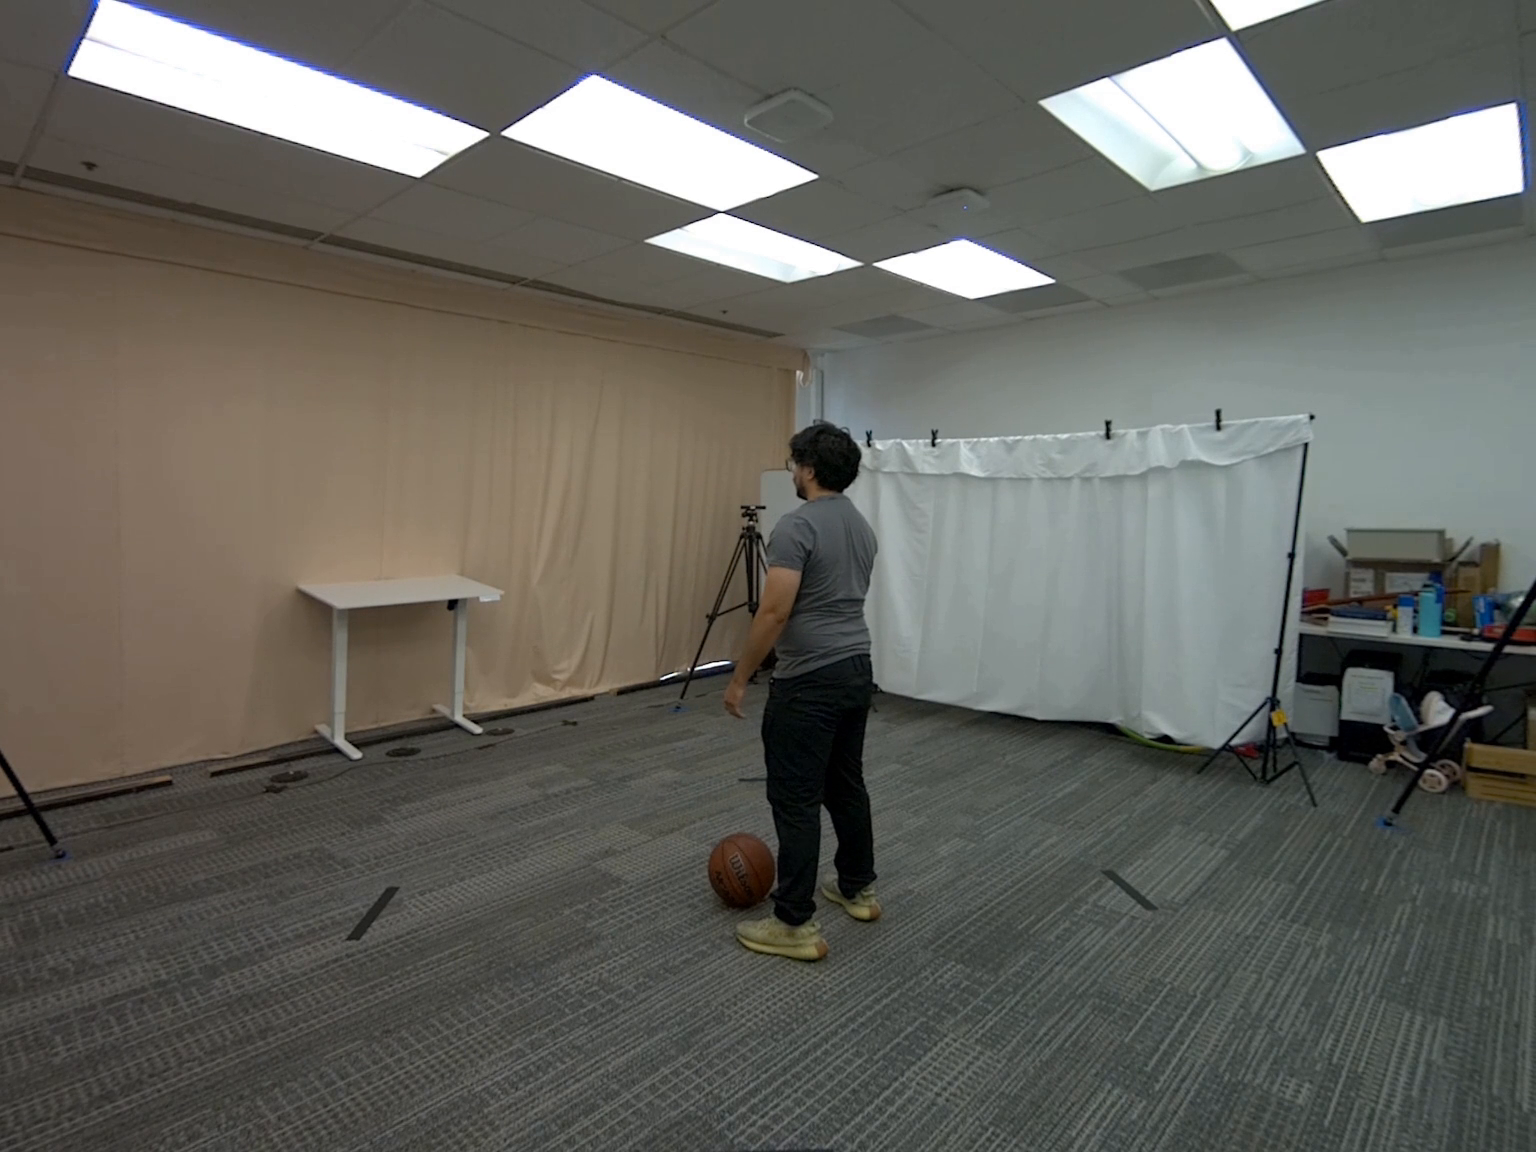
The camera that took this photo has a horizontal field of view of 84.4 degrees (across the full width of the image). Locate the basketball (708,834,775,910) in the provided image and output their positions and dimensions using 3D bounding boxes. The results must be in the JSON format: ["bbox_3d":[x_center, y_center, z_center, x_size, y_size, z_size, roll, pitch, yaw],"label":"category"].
[{"bbox_3d":[-0.086,1.024,2.953,0.236,0.235,0.237,0,4,-2],"label":"basketball"}]
